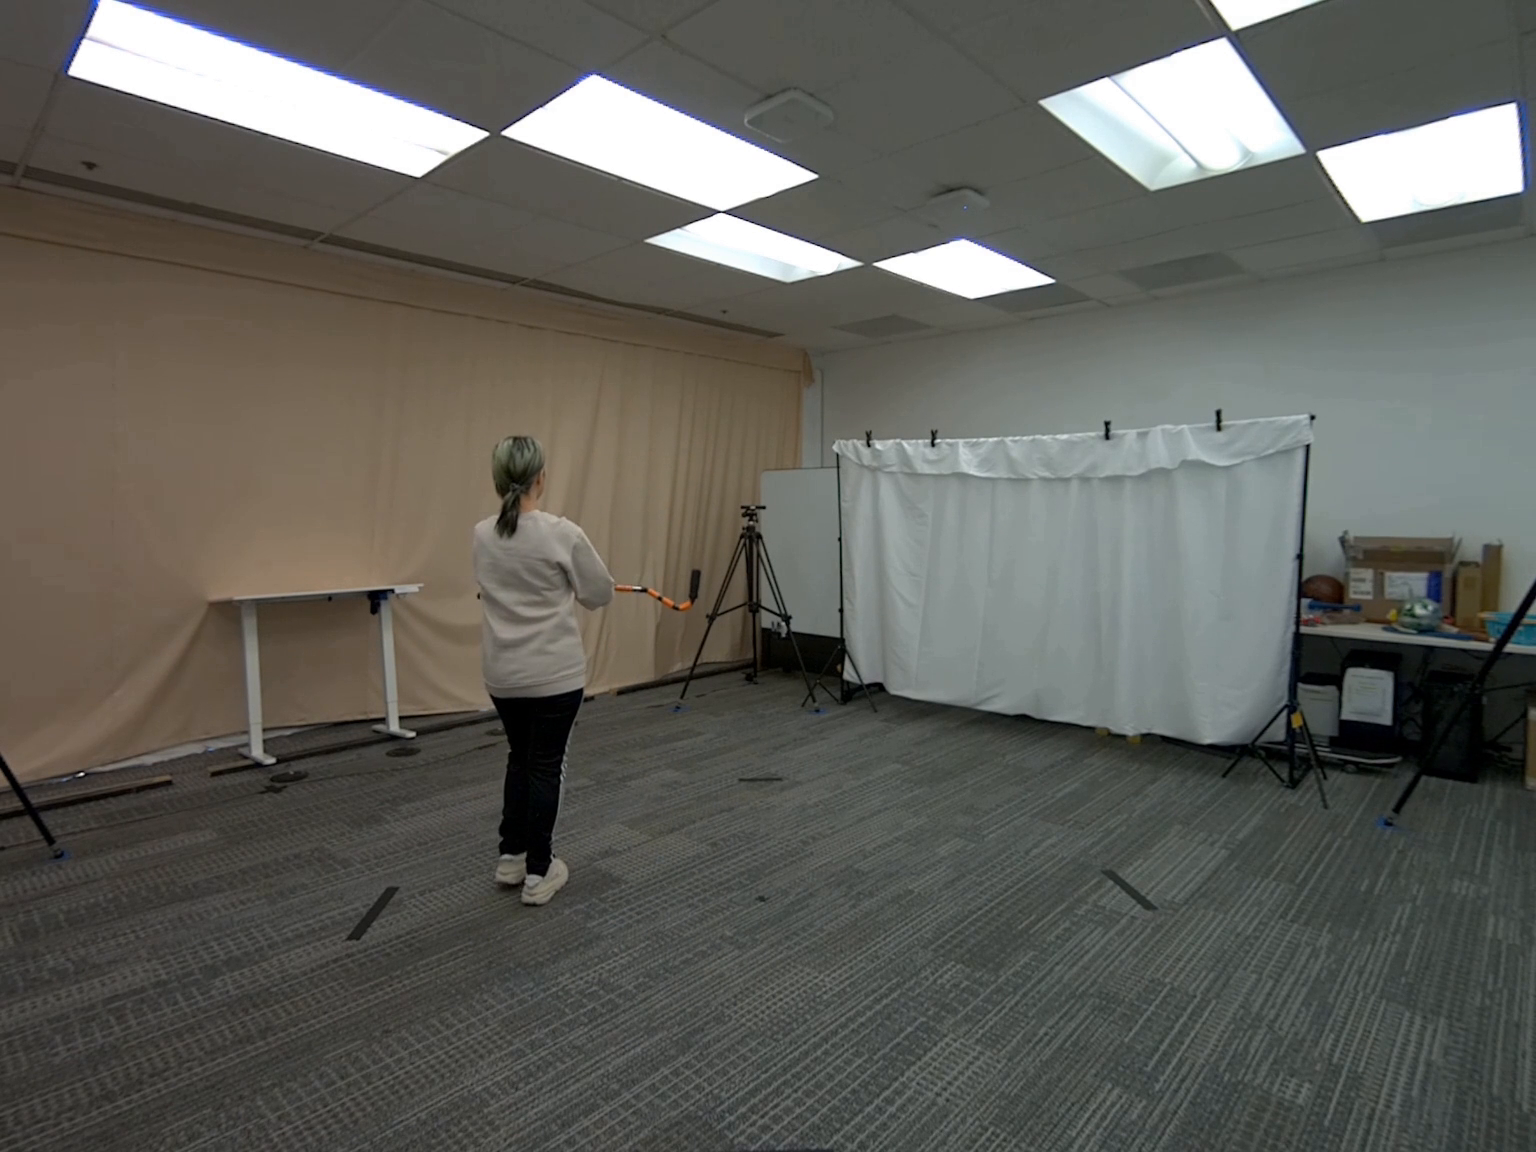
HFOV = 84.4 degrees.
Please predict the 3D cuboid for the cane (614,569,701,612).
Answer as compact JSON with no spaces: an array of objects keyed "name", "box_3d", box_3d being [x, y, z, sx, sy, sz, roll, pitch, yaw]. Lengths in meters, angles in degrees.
[{"name":"cane","box_3d":[-0.708,0.032,3.359,0.924,0.208,0.148,3,-13,17]}]
